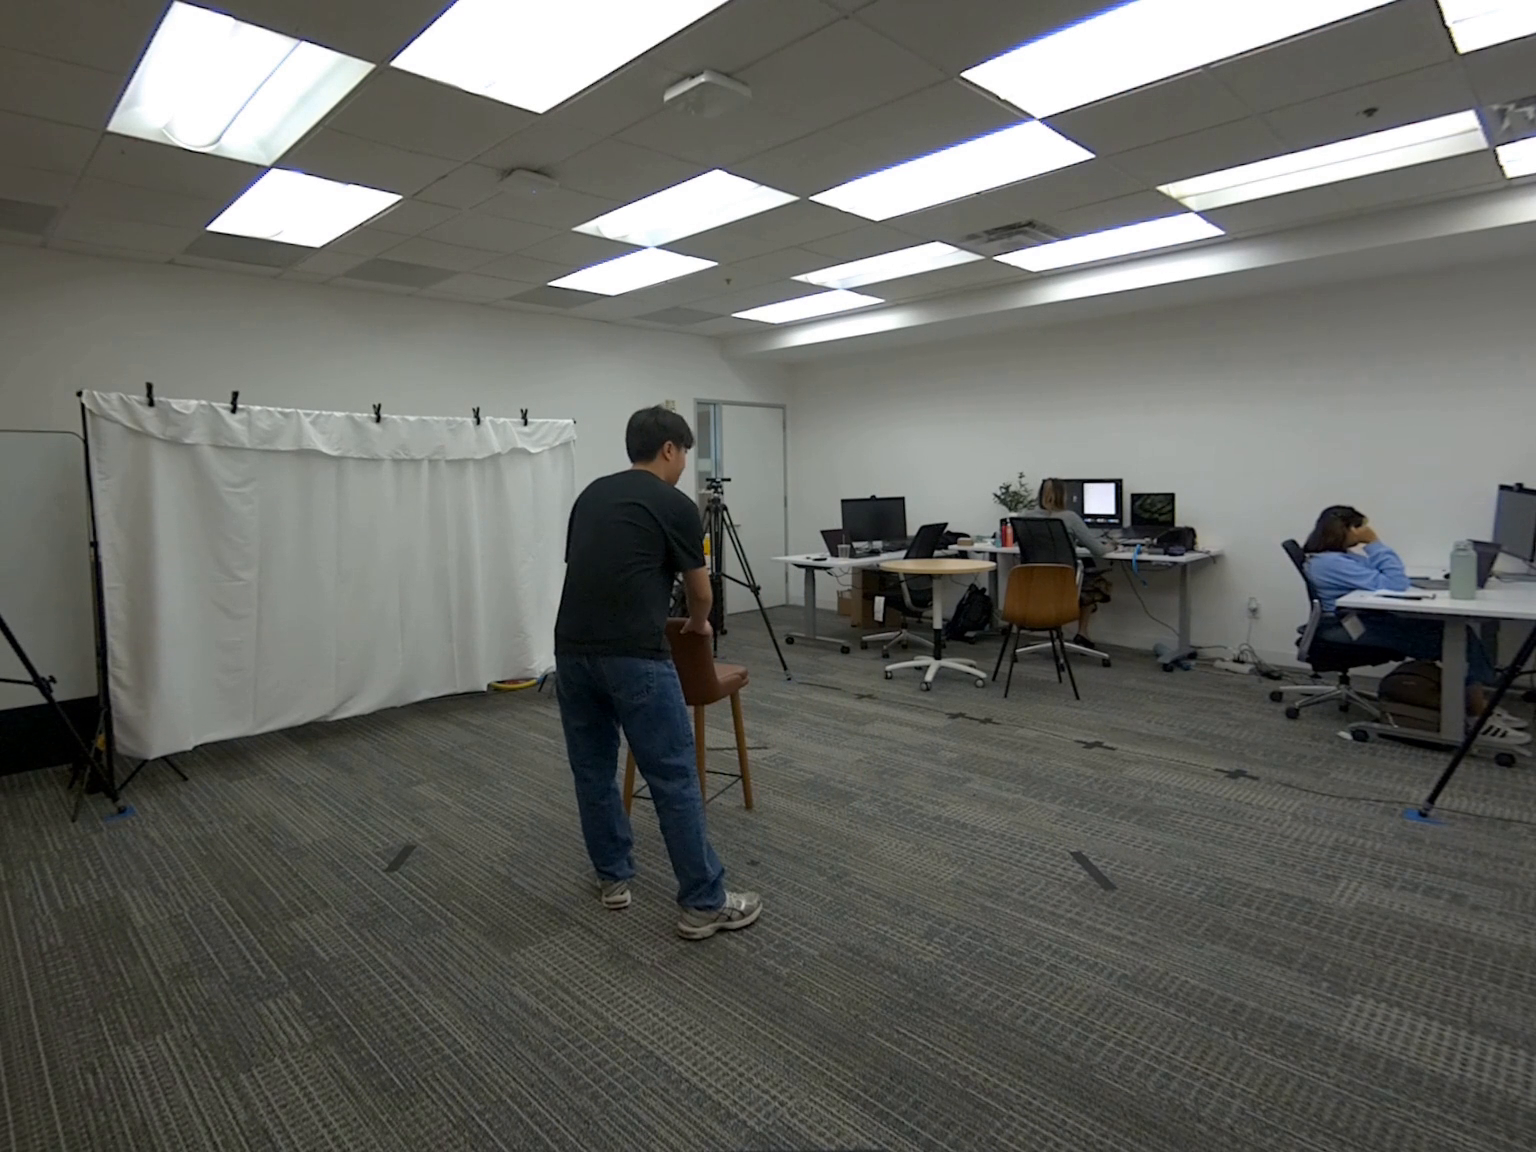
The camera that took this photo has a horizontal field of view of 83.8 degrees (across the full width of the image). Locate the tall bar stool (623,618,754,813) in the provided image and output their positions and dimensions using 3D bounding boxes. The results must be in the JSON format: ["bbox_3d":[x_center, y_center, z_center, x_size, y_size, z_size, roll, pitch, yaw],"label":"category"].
[{"bbox_3d":[-0.343,0.565,3.479,0.467,0.885,0.459,1,6,25],"label":"tall bar stool"}]
